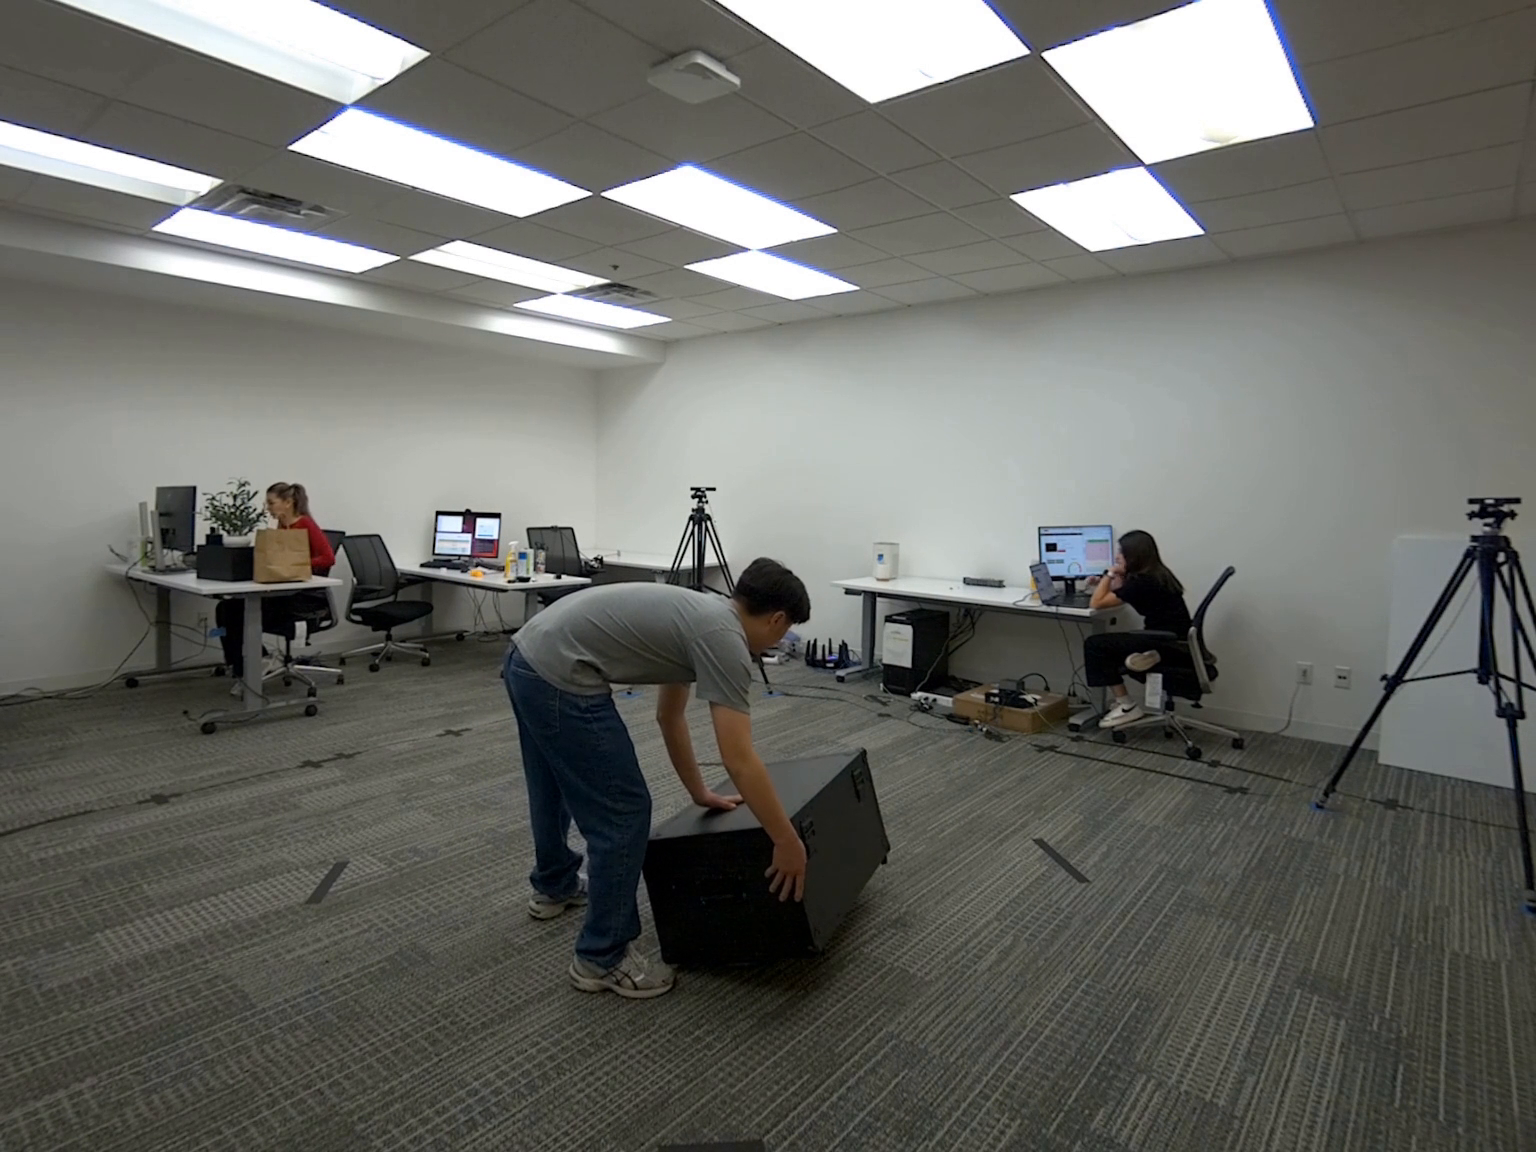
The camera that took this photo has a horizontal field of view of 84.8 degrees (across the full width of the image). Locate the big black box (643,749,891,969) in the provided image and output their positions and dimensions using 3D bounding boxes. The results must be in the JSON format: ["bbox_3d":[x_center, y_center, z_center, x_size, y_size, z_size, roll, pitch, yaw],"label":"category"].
[{"bbox_3d":[0.032,0.865,2.726,0.530,0.398,0.844,-15,-1,23],"label":"big black box"}]
